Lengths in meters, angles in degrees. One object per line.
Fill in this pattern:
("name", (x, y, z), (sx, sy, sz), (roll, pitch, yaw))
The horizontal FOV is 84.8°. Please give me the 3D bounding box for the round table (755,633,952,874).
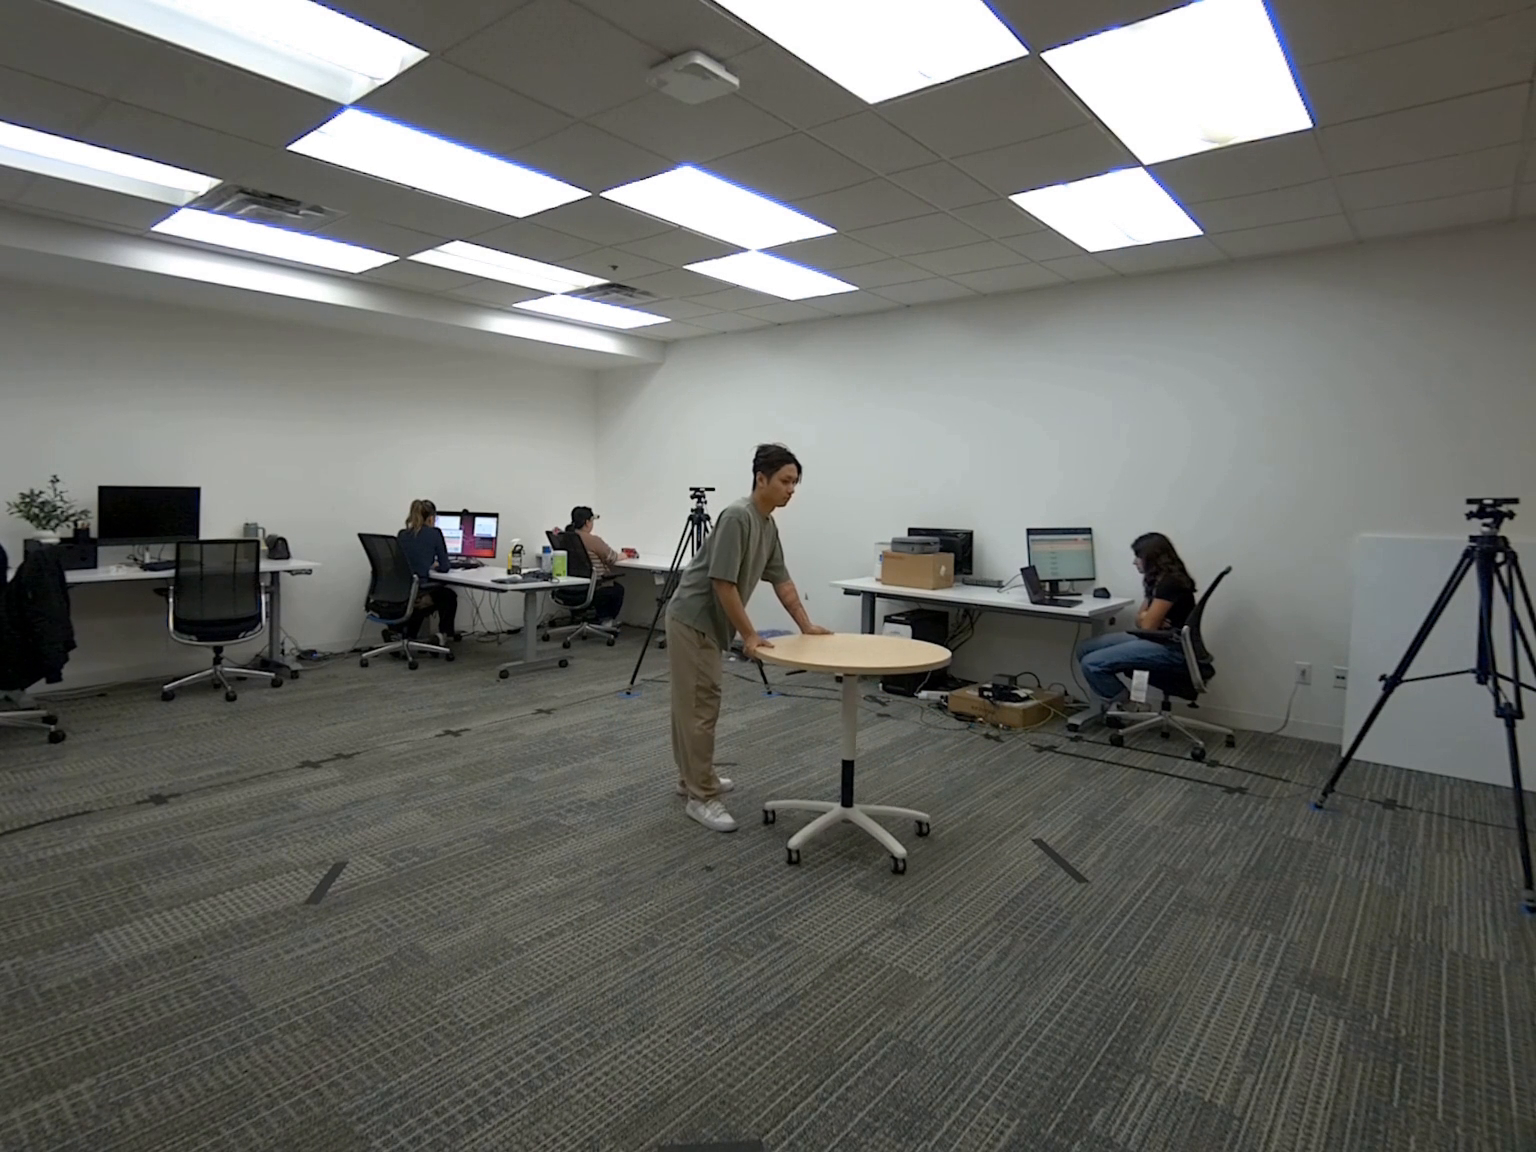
("round table", (0.308, 0.665, 3.360), (0.784, 0.784, 0.788), (0, 4, -2))
